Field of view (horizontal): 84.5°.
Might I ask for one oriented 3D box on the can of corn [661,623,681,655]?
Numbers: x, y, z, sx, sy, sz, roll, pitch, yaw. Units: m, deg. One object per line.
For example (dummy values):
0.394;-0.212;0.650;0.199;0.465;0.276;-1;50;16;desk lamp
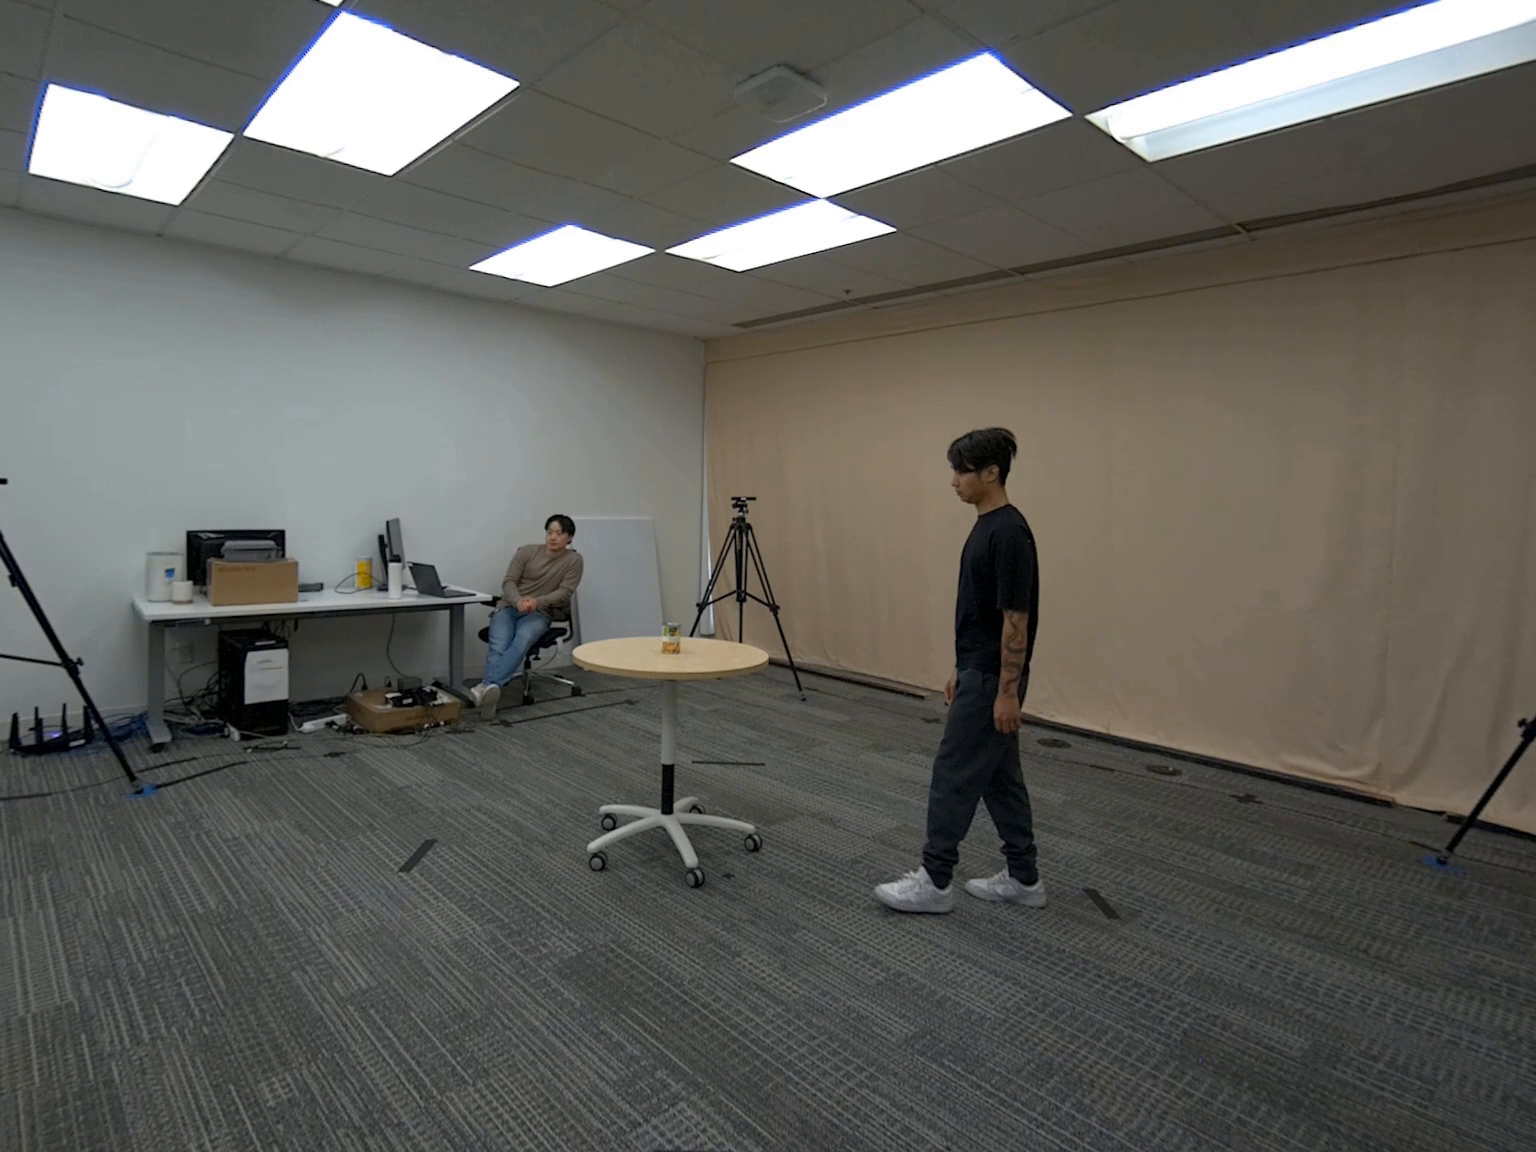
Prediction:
-0.383;0.244;3.300;0.074;0.111;0.074;3;3;-2;can of corn
